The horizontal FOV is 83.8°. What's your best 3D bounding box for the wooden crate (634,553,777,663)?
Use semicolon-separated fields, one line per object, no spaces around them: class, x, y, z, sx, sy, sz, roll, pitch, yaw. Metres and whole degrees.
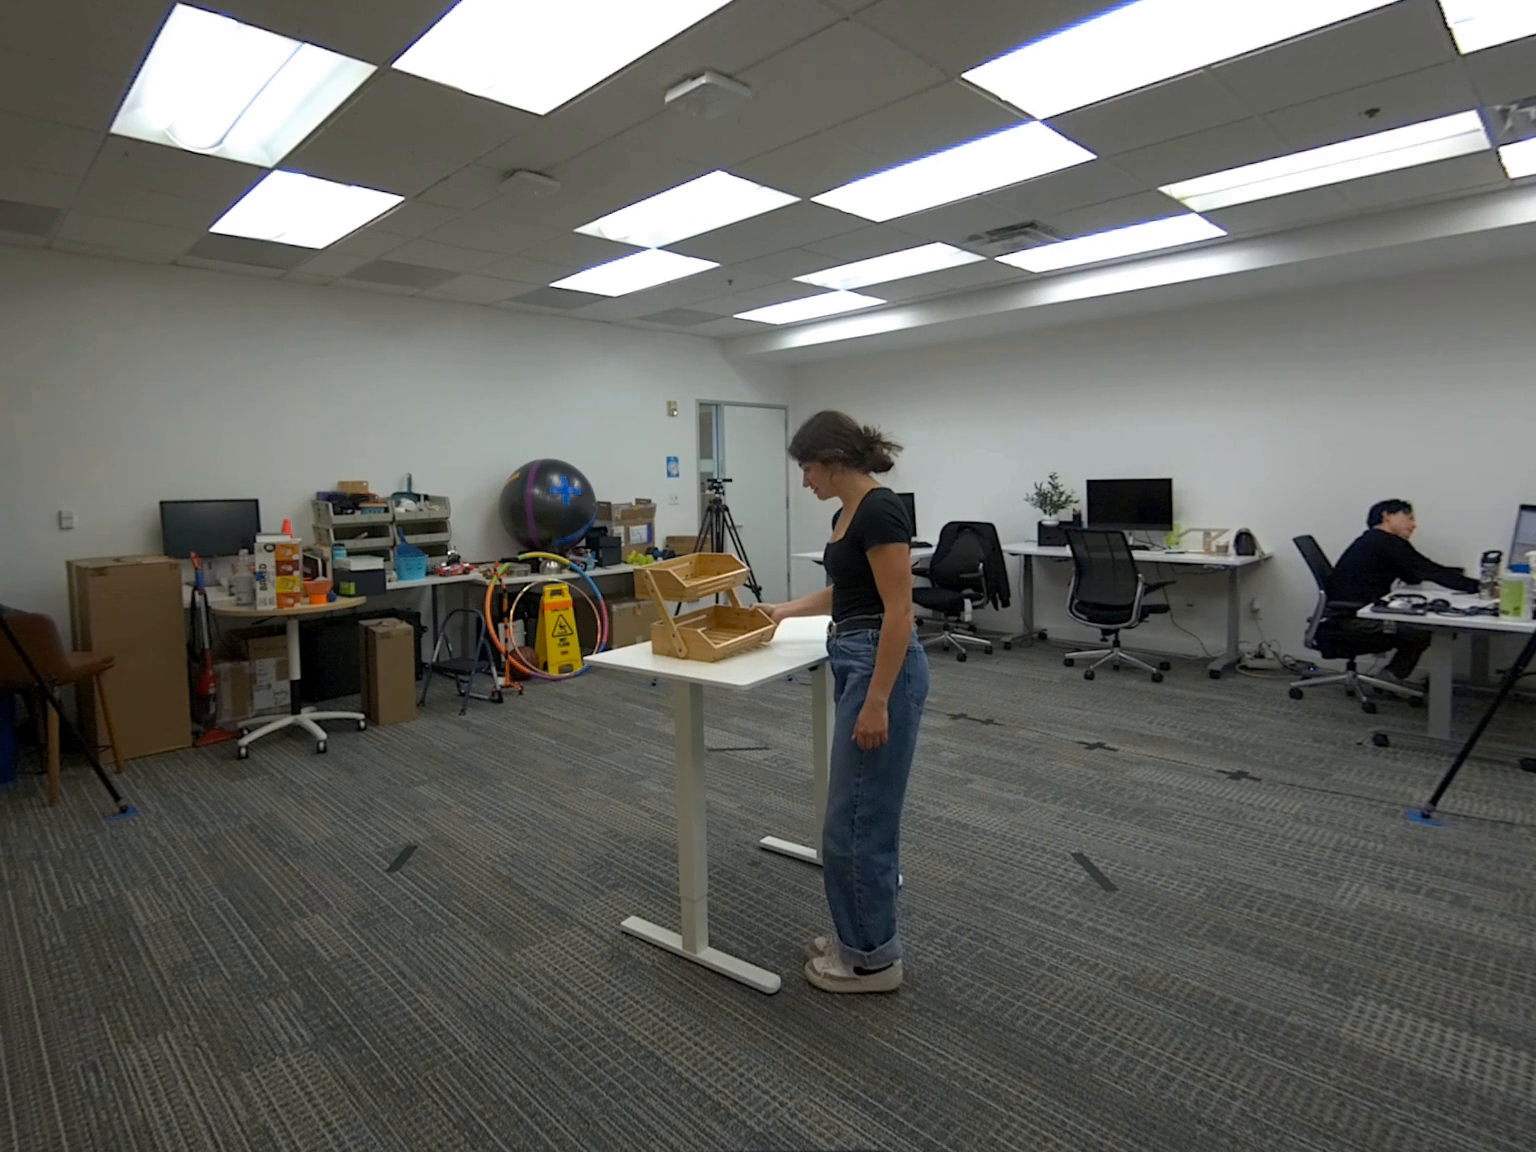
wooden crate;-0.181;0.083;2.596;0.311;0.271;0.317;3;10;37
